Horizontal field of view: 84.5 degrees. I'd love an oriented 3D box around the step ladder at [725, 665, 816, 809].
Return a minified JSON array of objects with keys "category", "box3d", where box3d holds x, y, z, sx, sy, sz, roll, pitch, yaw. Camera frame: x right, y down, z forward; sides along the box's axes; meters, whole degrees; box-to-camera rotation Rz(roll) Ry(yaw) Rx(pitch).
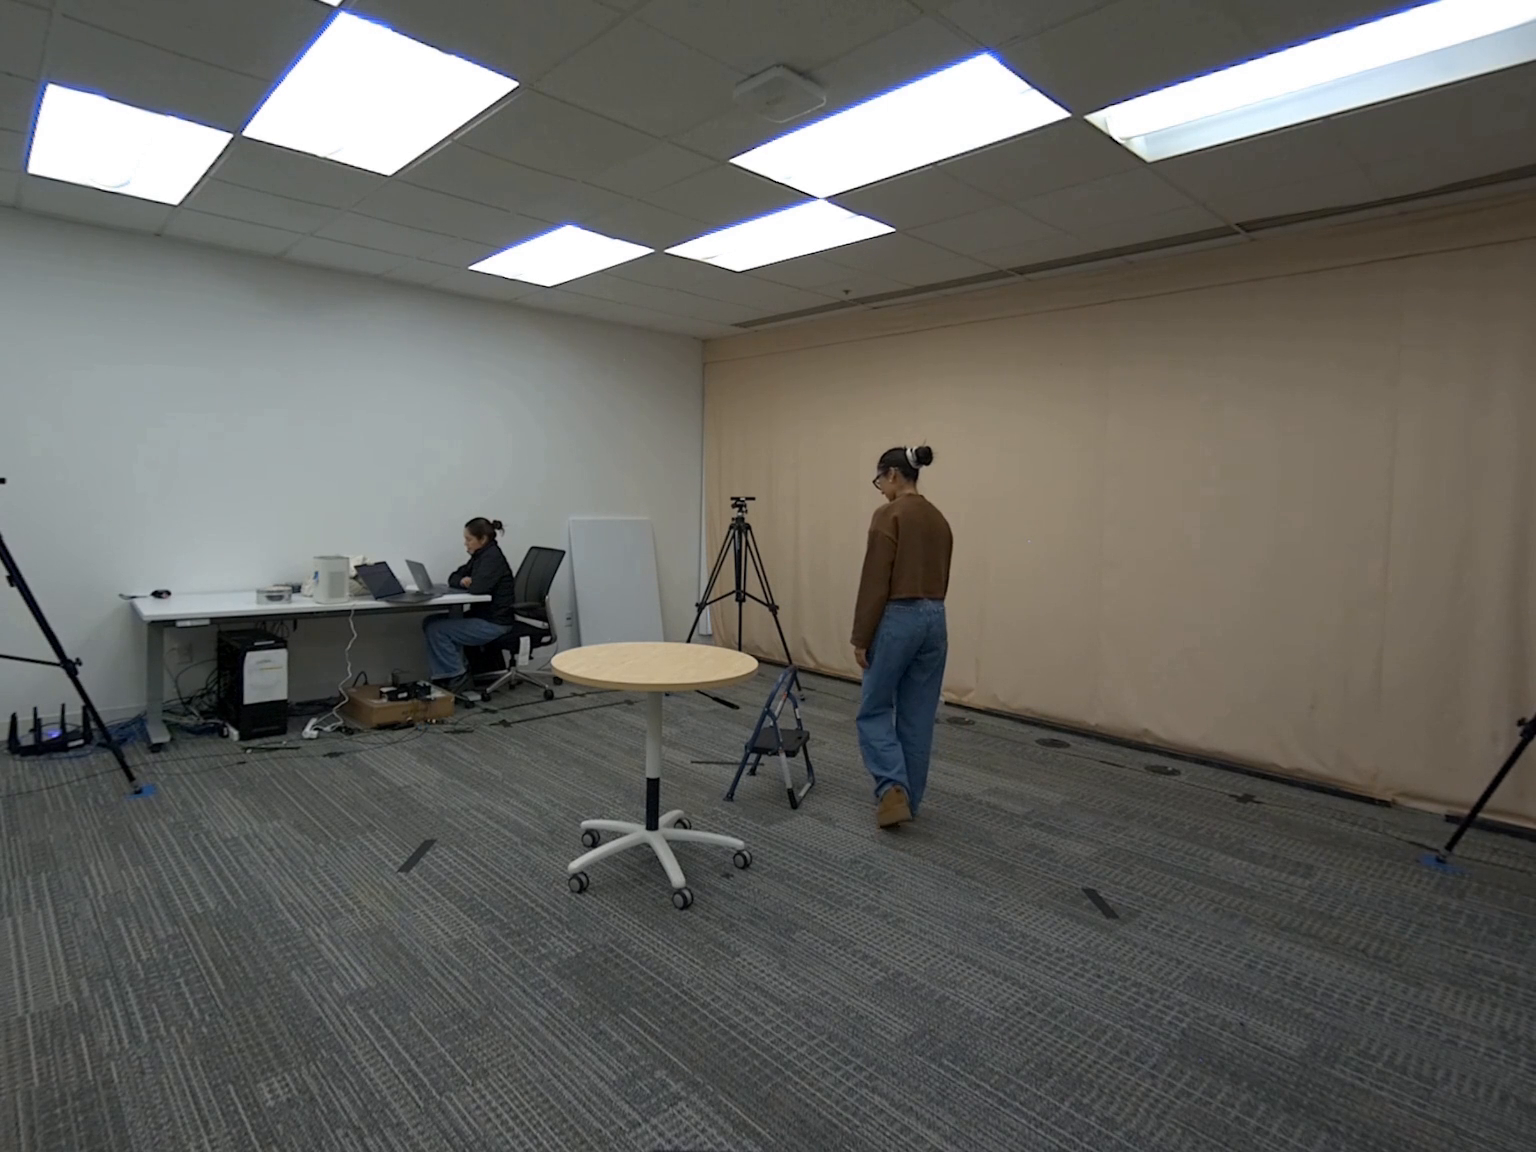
[{"category":"step ladder","box3d":[0.015,0.729,4.026,0.354,0.604,0.426,3,4,15]}]
